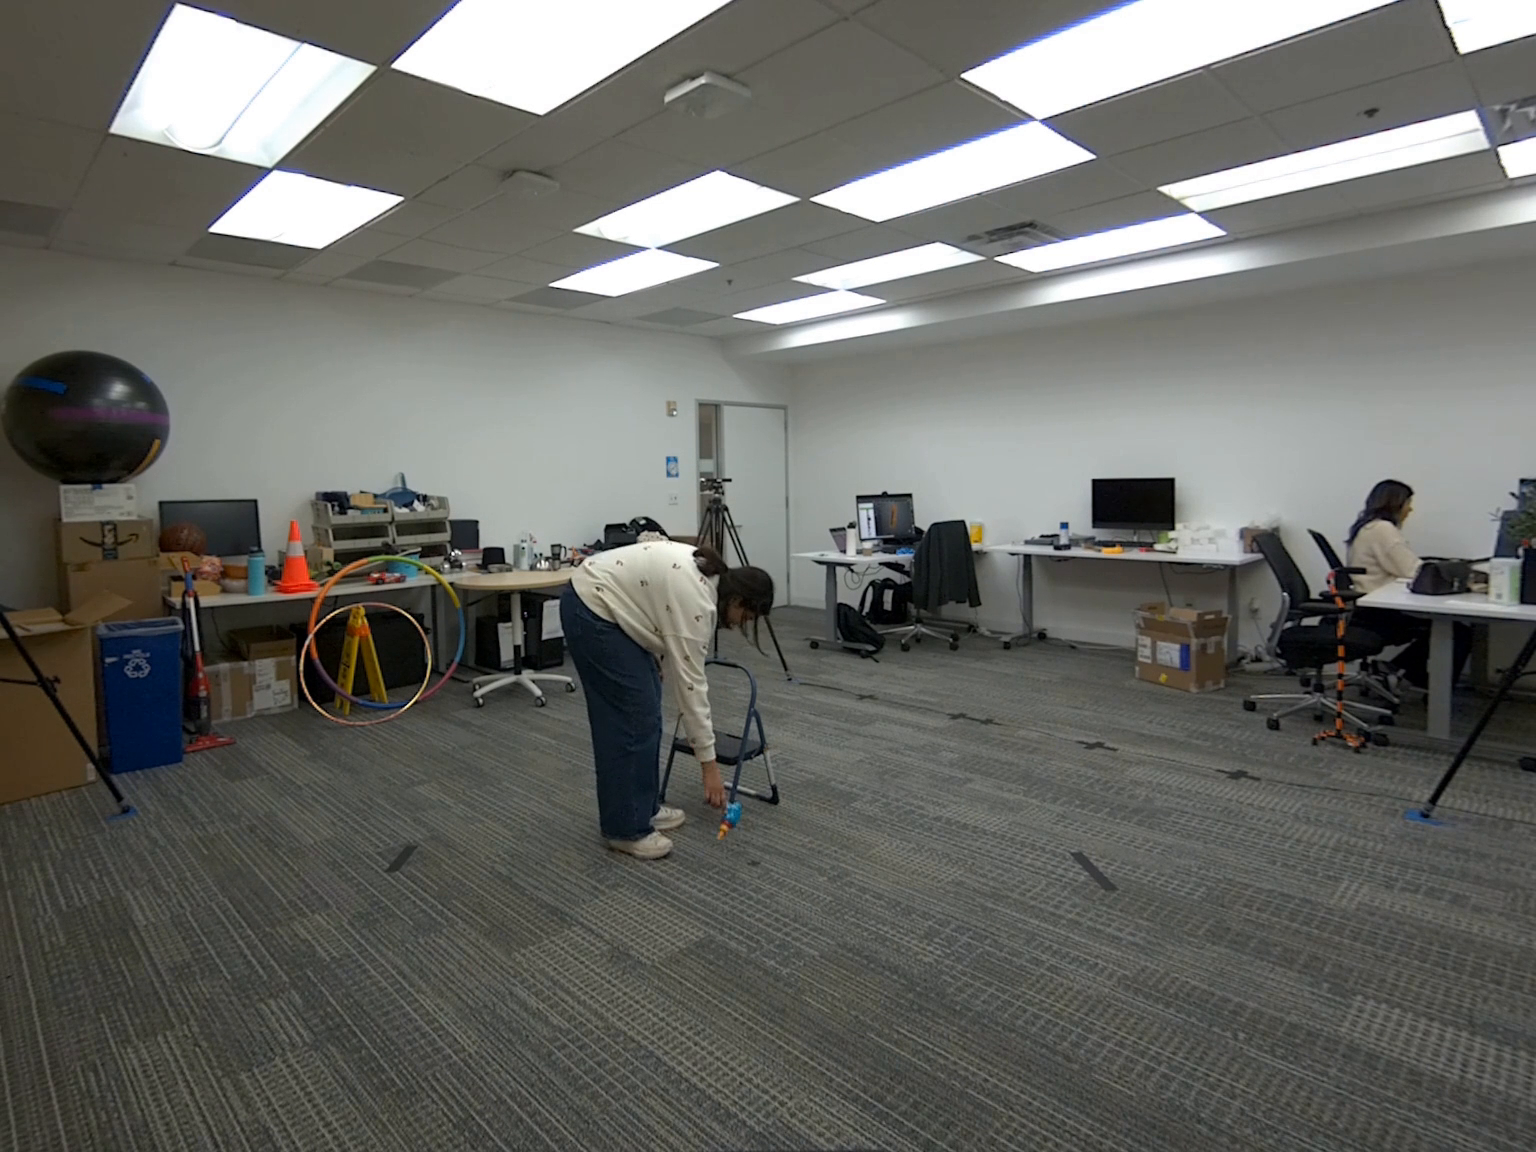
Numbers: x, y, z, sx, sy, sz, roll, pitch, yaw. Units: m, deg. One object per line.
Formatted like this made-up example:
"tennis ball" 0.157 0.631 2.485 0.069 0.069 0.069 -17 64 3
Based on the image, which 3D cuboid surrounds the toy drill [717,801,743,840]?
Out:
"toy drill" -0.180 0.863 3.111 0.148 0.060 0.170 30 47 7
